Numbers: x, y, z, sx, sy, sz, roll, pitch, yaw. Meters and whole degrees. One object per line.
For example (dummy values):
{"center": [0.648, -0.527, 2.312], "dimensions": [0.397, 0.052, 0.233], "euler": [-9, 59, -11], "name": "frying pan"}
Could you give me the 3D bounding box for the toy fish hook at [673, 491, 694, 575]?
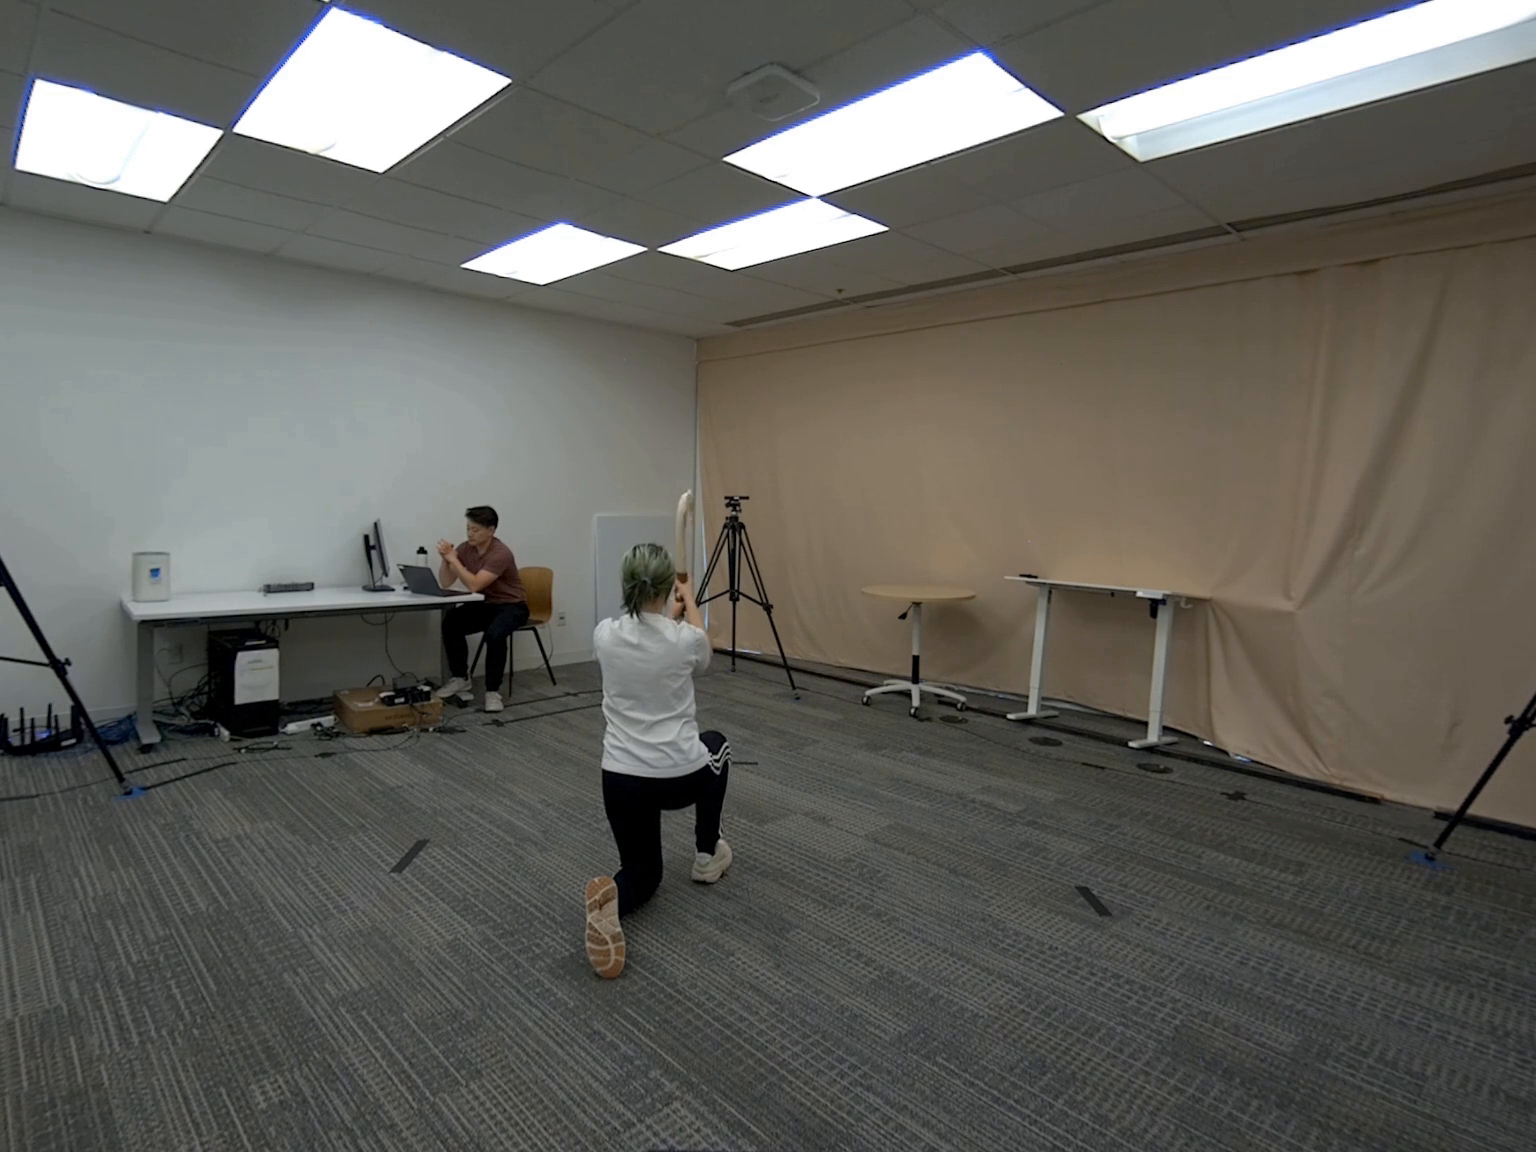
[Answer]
{"center": [-0.331, -0.070, 3.316], "dimensions": [0.049, 0.501, 0.224], "euler": [6, 15, 12], "name": "toy fish hook"}
